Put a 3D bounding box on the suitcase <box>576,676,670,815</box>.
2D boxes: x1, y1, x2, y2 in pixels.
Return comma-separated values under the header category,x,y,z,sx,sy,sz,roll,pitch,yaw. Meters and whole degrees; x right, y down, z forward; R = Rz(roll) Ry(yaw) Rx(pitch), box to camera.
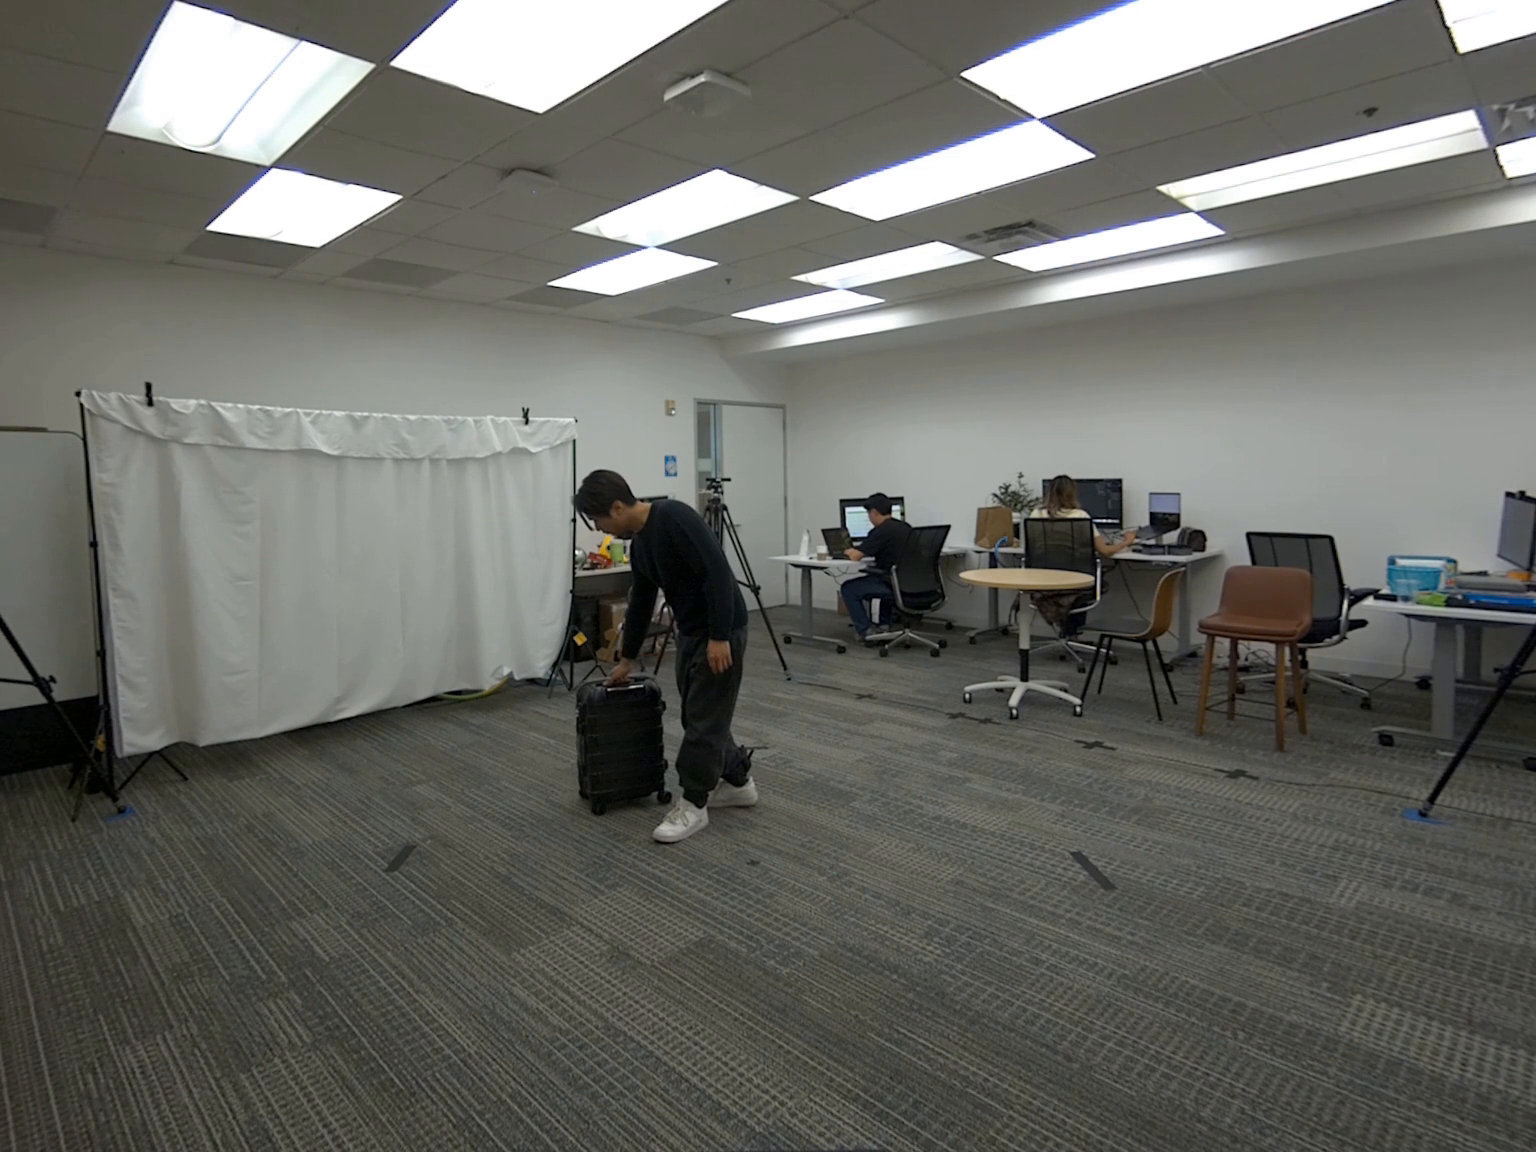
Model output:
category,x,y,z,sx,sy,sz,roll,pitch,yaw
suitcase,-0.642,0.709,3.712,0.368,0.547,0.254,-4,5,-24
